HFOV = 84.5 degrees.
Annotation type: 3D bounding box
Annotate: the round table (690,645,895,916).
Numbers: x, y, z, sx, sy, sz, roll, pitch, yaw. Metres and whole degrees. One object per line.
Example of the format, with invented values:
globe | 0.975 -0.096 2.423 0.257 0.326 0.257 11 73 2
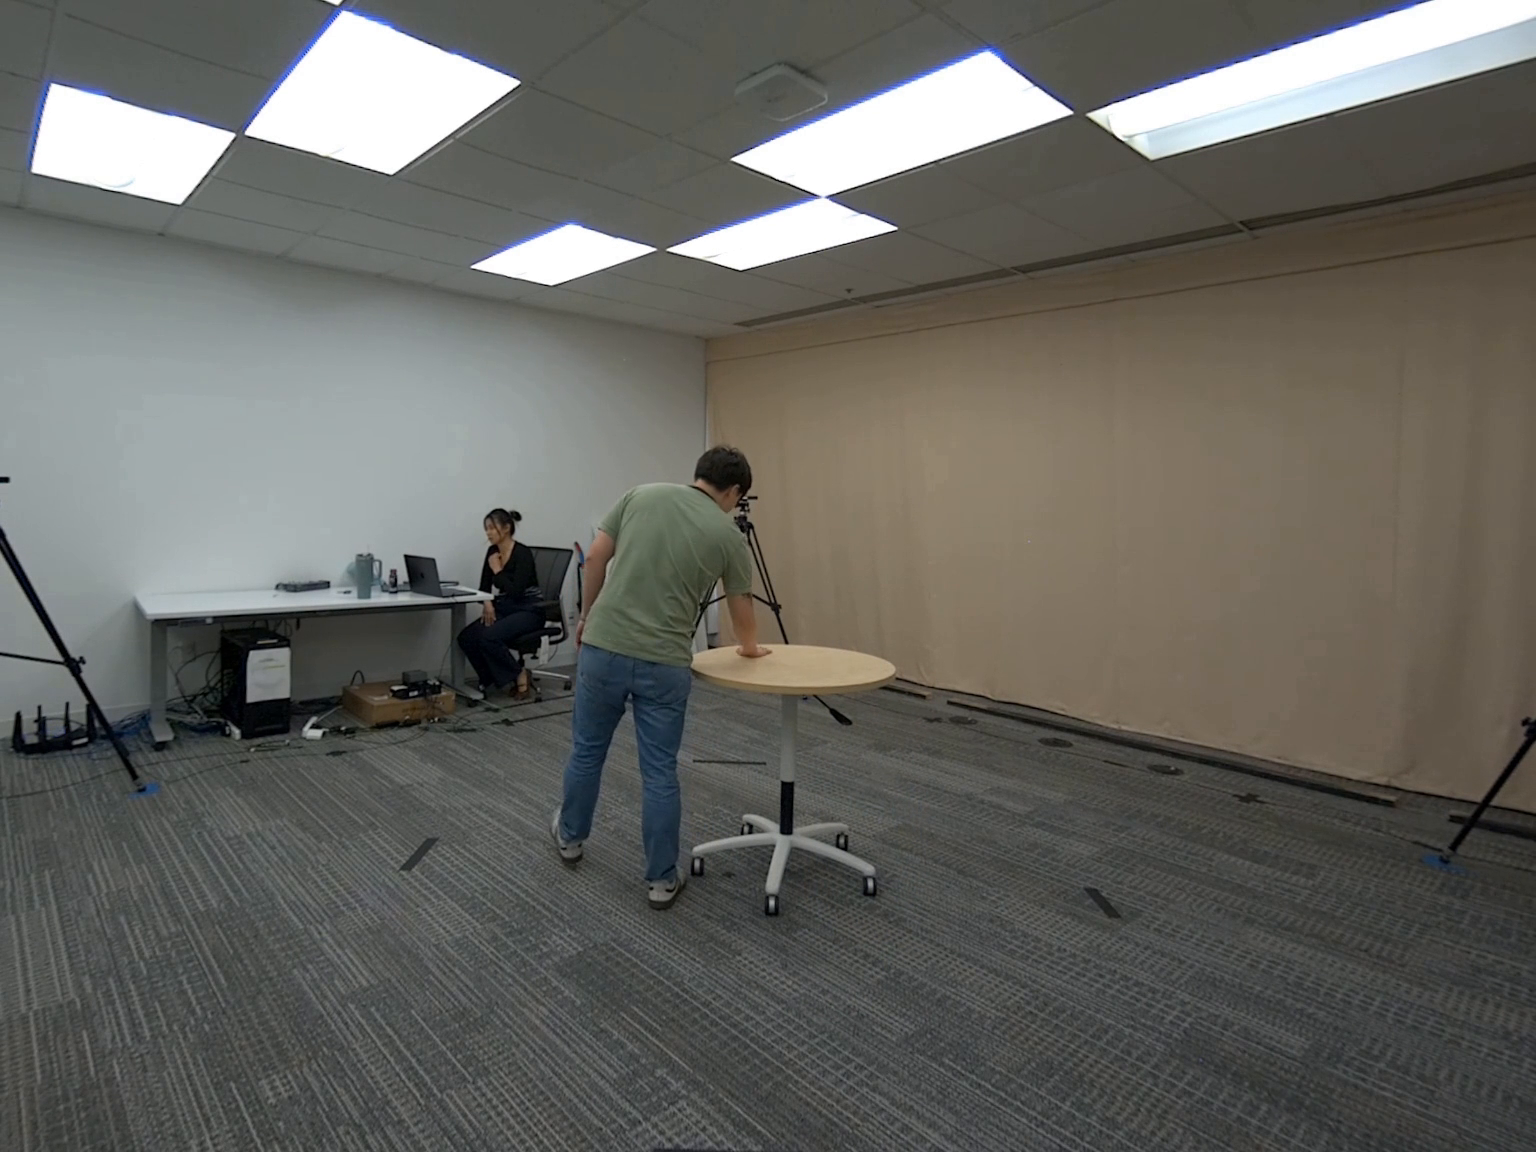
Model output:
round table | 0.069 0.716 3.137 0.763 0.792 0.766 2 4 -1
